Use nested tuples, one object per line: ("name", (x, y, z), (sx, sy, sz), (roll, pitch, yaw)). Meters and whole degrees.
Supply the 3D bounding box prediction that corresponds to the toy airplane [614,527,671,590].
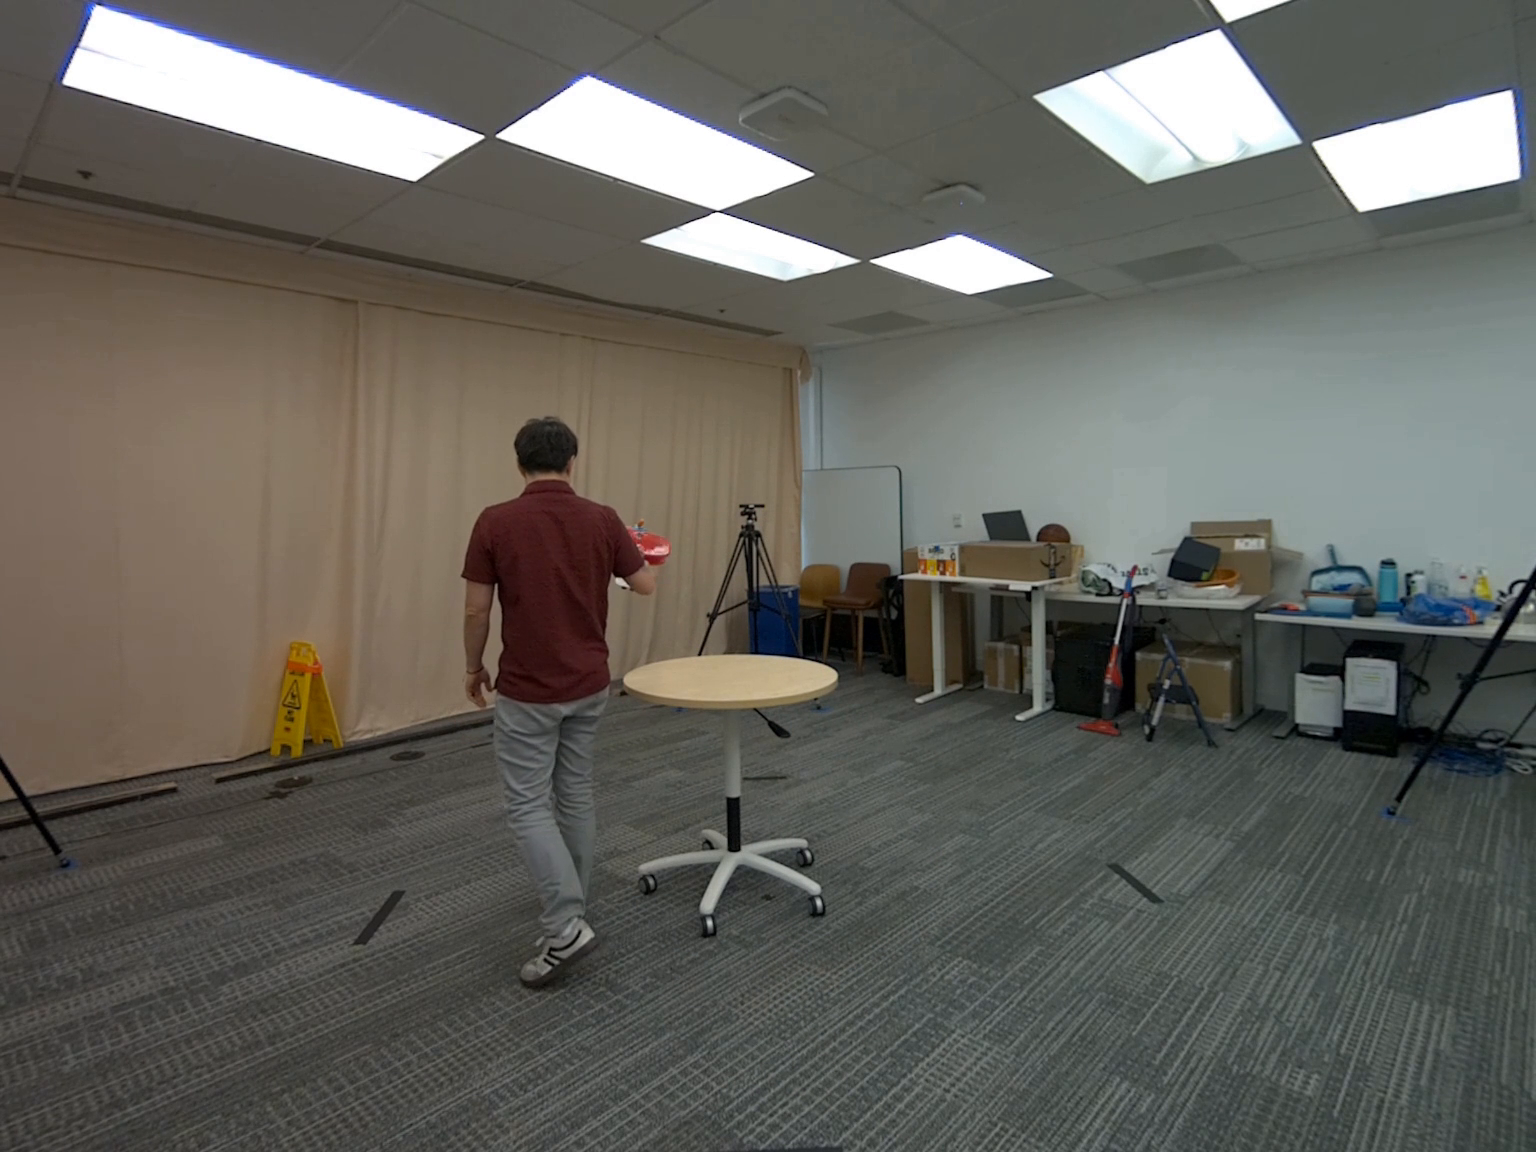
("toy airplane", (-0.496, -0.065, 3.227), (0.245, 0.266, 0.156), (-13, -33, -33))
